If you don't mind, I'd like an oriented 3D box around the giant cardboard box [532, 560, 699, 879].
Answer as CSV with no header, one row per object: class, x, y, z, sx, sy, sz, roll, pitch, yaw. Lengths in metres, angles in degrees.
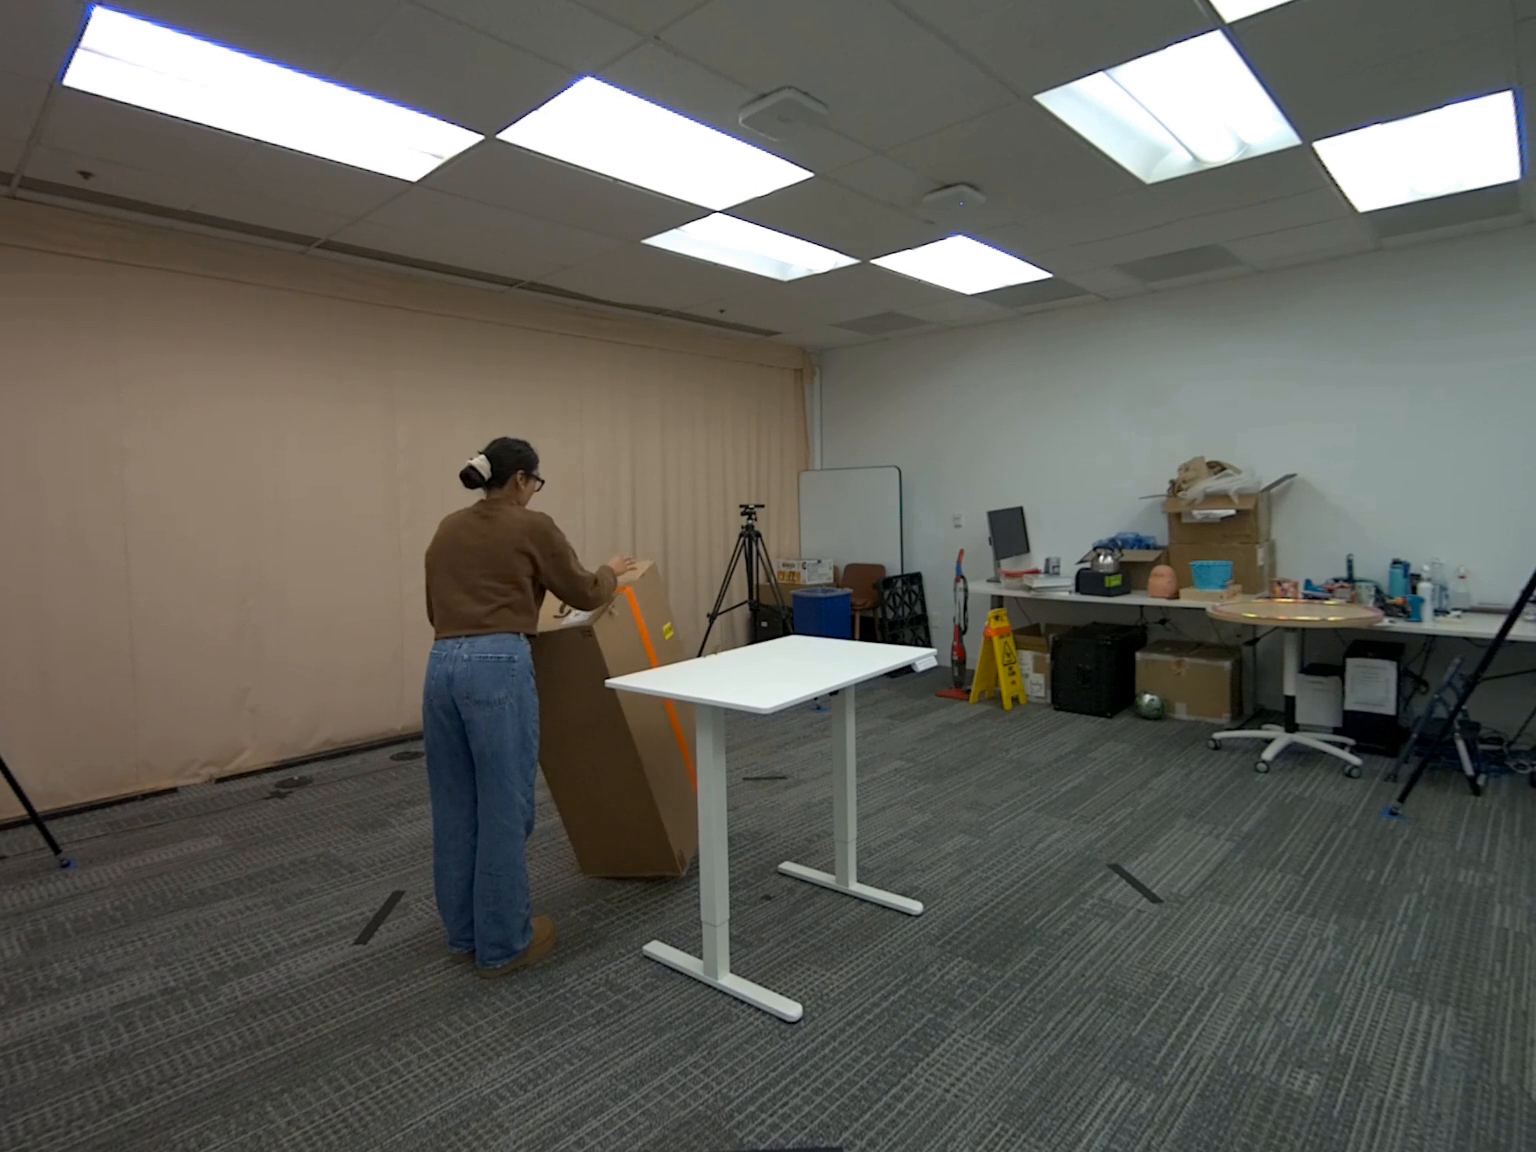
giant cardboard box,-0.567,0.543,3.229,0.434,1.011,0.575,-10,18,20
